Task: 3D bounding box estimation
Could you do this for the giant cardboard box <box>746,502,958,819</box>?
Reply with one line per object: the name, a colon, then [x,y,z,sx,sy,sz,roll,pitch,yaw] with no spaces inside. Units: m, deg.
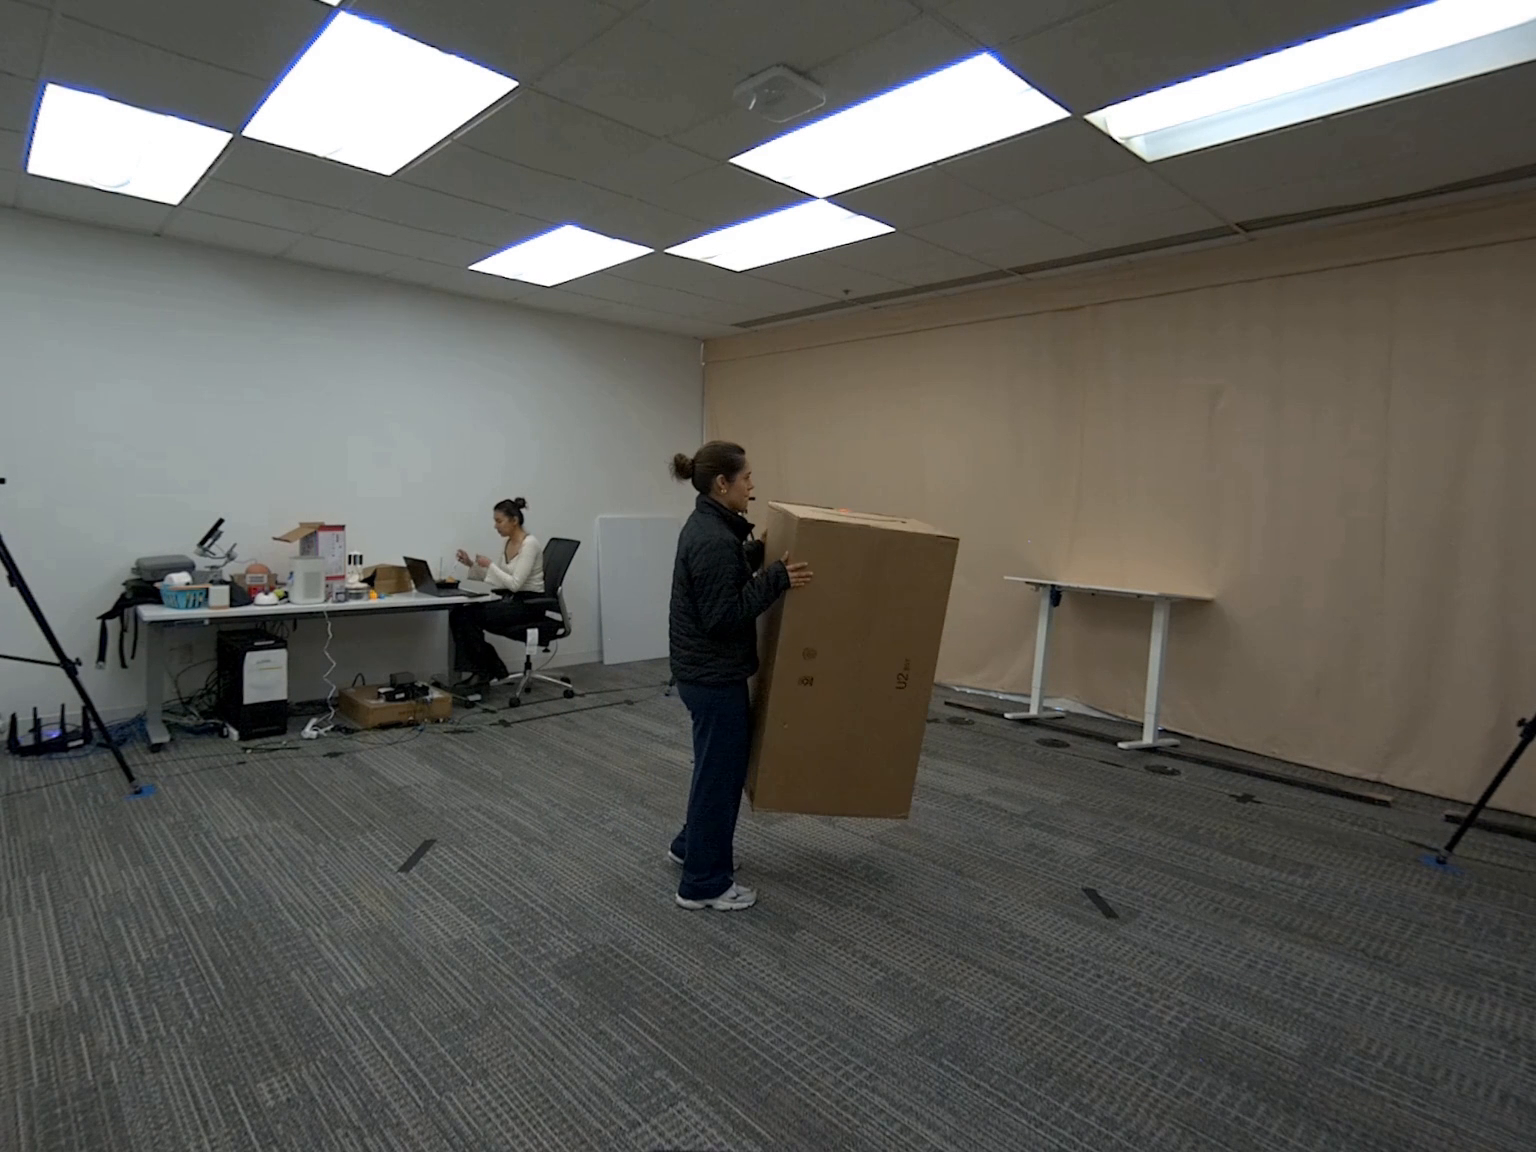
giant cardboard box: [0.246,0.295,3.032,0.571,1.020,0.433,6,9,-12]
